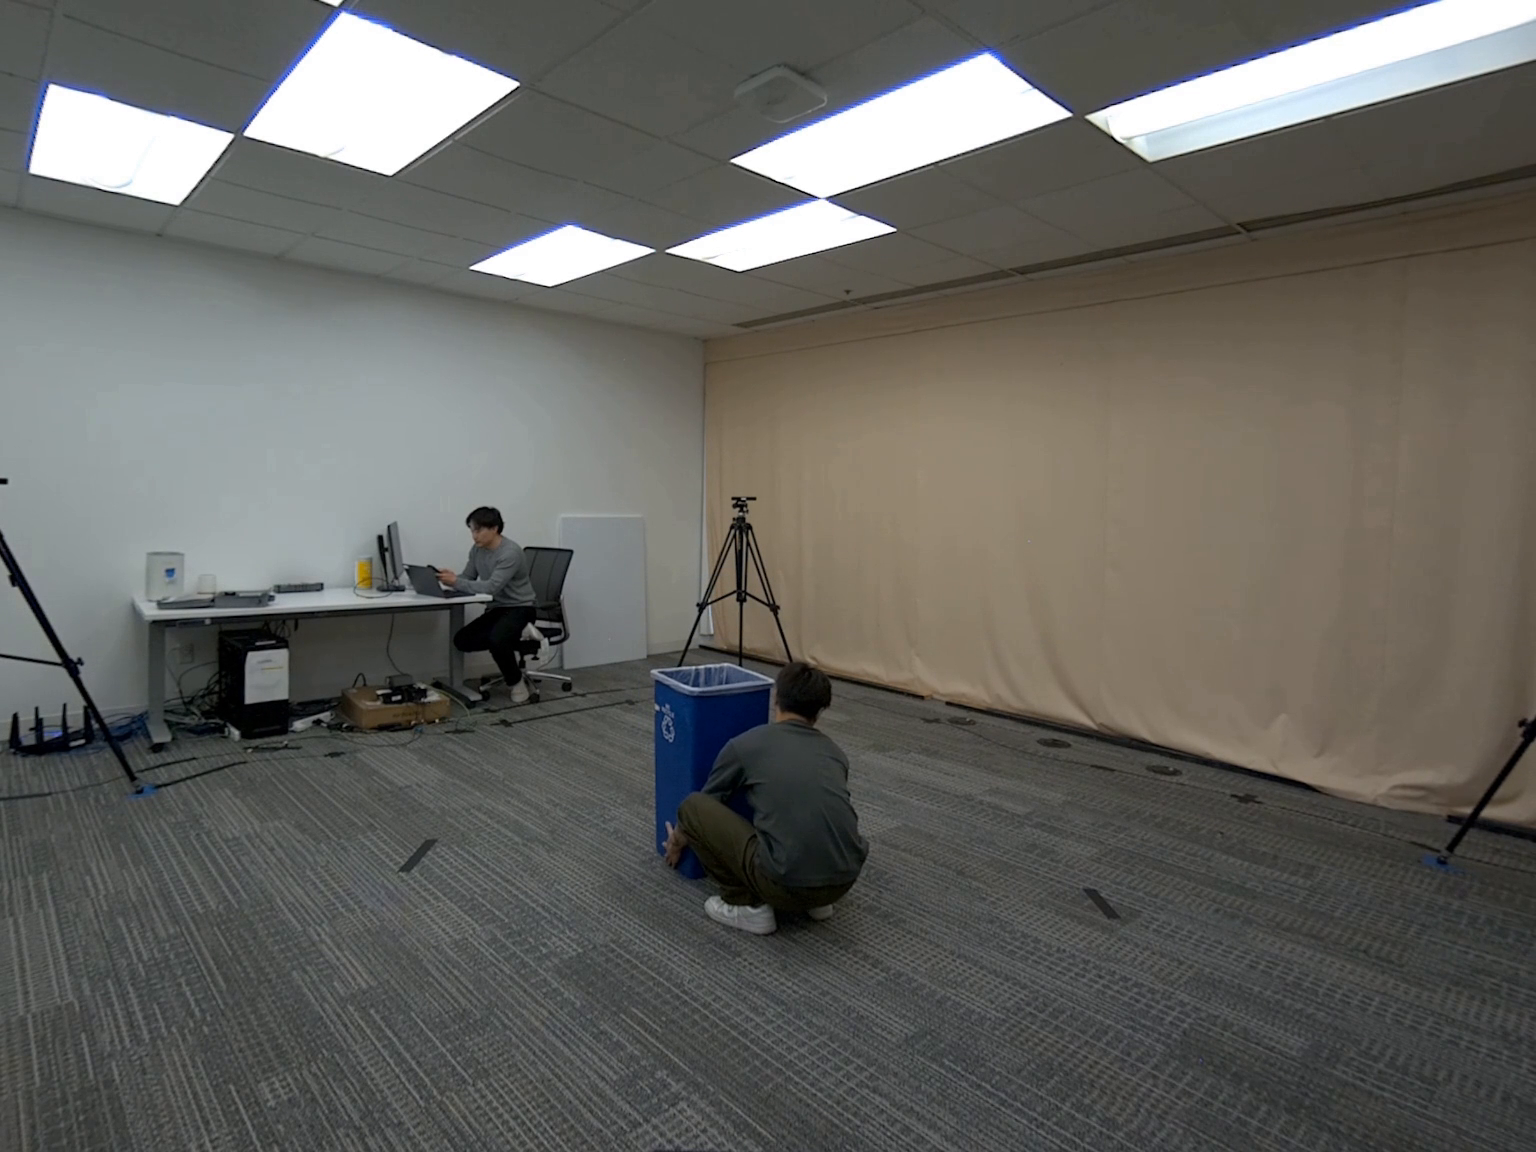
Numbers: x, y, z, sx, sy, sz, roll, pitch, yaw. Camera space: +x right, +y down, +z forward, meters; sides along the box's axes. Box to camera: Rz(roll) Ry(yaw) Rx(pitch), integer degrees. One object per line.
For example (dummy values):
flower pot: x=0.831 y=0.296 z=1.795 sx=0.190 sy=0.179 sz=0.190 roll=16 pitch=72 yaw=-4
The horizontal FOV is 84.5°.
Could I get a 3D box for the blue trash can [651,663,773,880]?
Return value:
blue trash can: x=-0.238 y=0.733 z=3.238 sx=0.366 sy=0.712 sz=0.387 roll=0 pitch=4 yaw=-32
